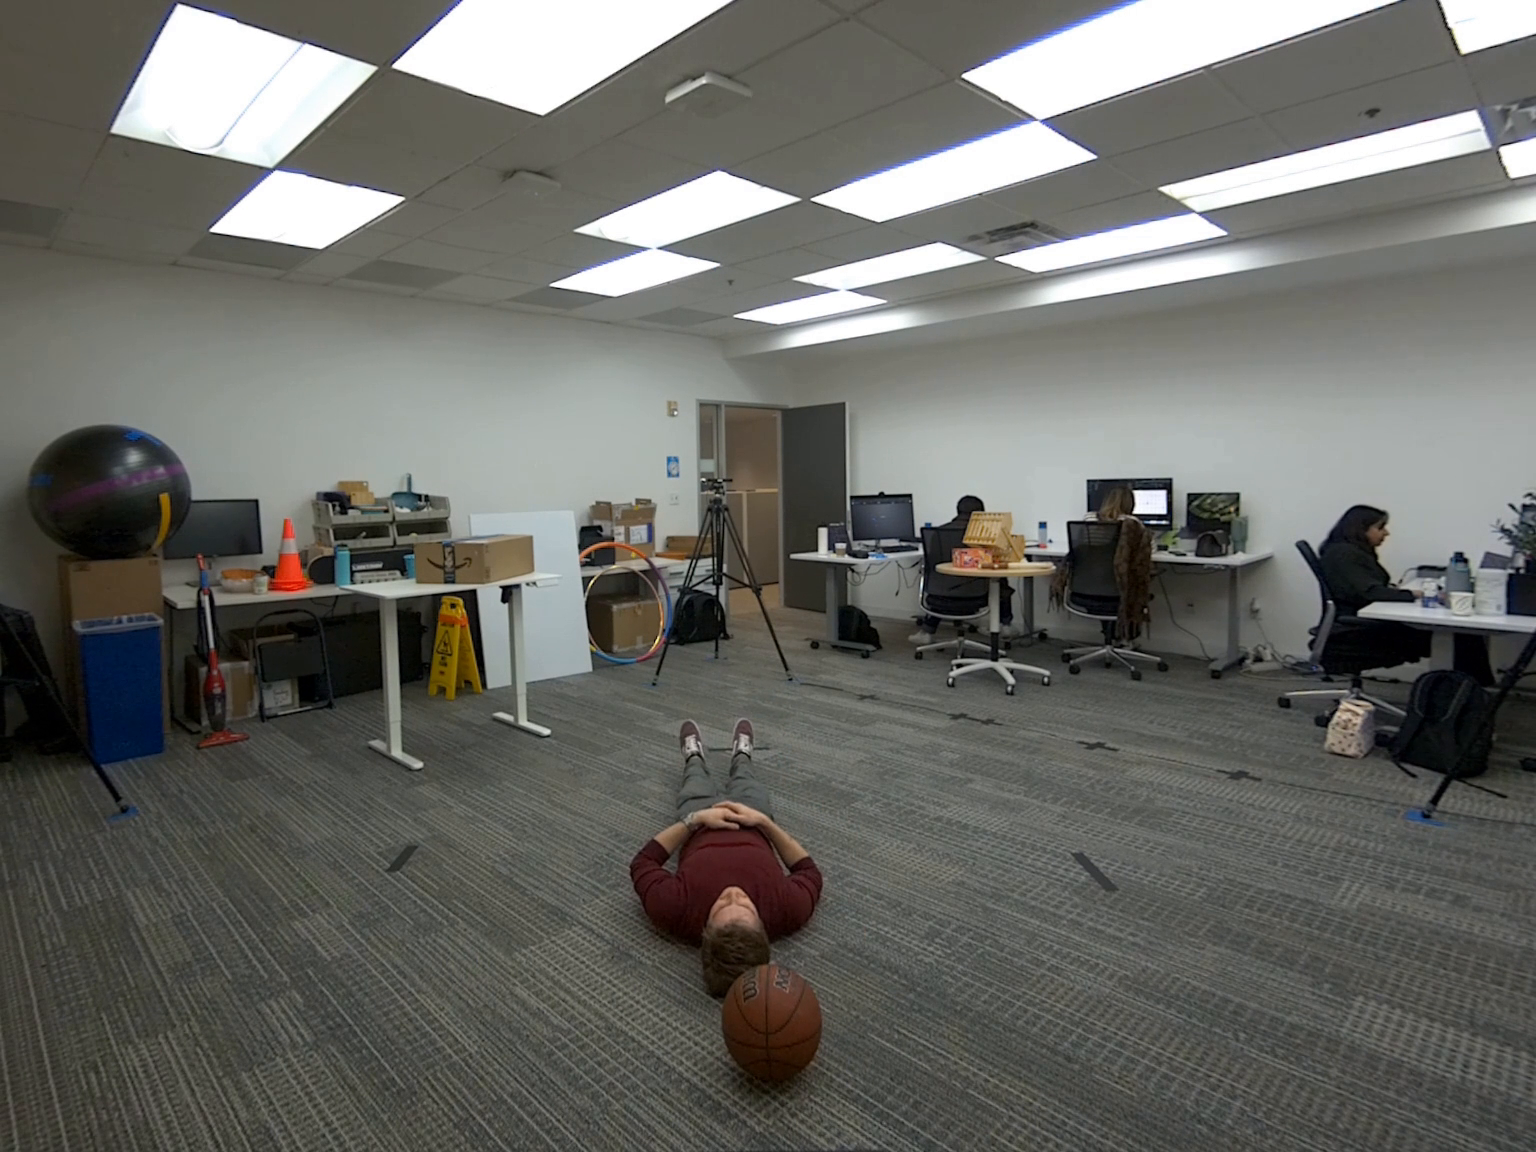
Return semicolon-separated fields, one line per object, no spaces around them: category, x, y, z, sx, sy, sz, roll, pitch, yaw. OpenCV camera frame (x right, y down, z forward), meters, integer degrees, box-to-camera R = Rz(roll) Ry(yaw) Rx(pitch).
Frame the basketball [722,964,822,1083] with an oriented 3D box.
basketball;0.020;1.050;2.024;0.236;0.235;0.237;-1;5;-2
